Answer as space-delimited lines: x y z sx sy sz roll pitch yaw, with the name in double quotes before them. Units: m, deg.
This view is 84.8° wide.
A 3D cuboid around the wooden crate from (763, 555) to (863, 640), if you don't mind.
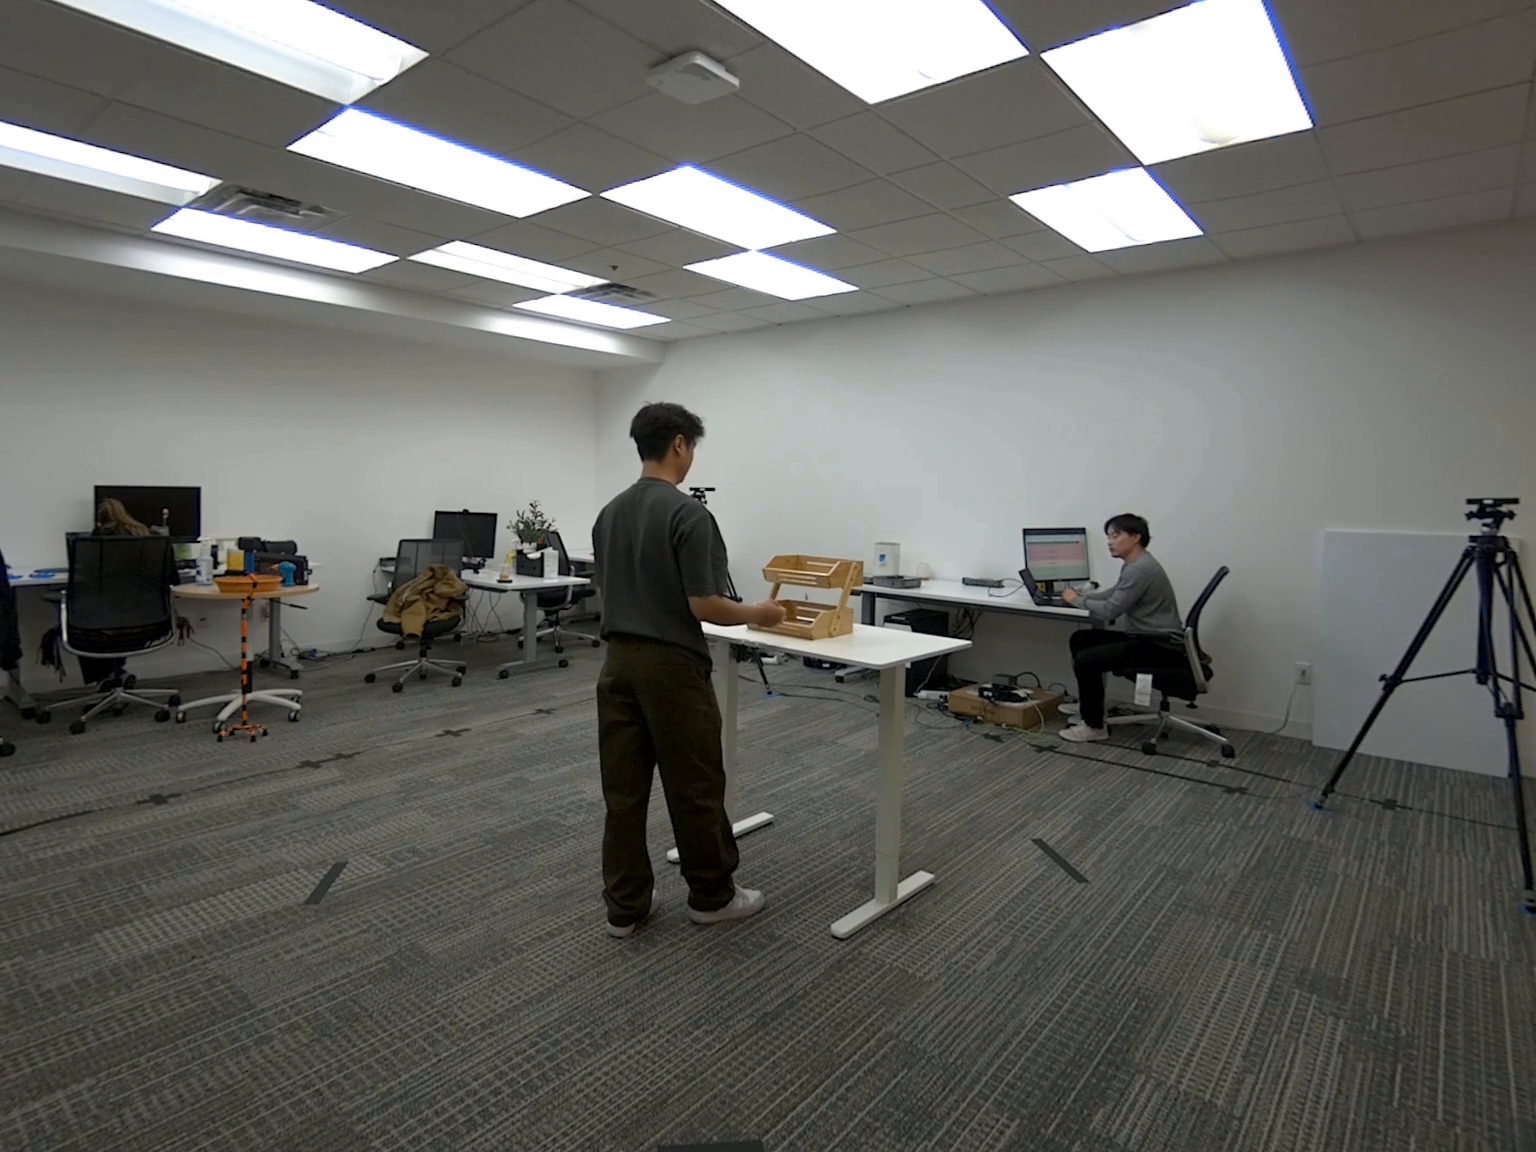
"wooden crate" 0.120 0.064 3.068 0.336 0.272 0.293 6 6 41
